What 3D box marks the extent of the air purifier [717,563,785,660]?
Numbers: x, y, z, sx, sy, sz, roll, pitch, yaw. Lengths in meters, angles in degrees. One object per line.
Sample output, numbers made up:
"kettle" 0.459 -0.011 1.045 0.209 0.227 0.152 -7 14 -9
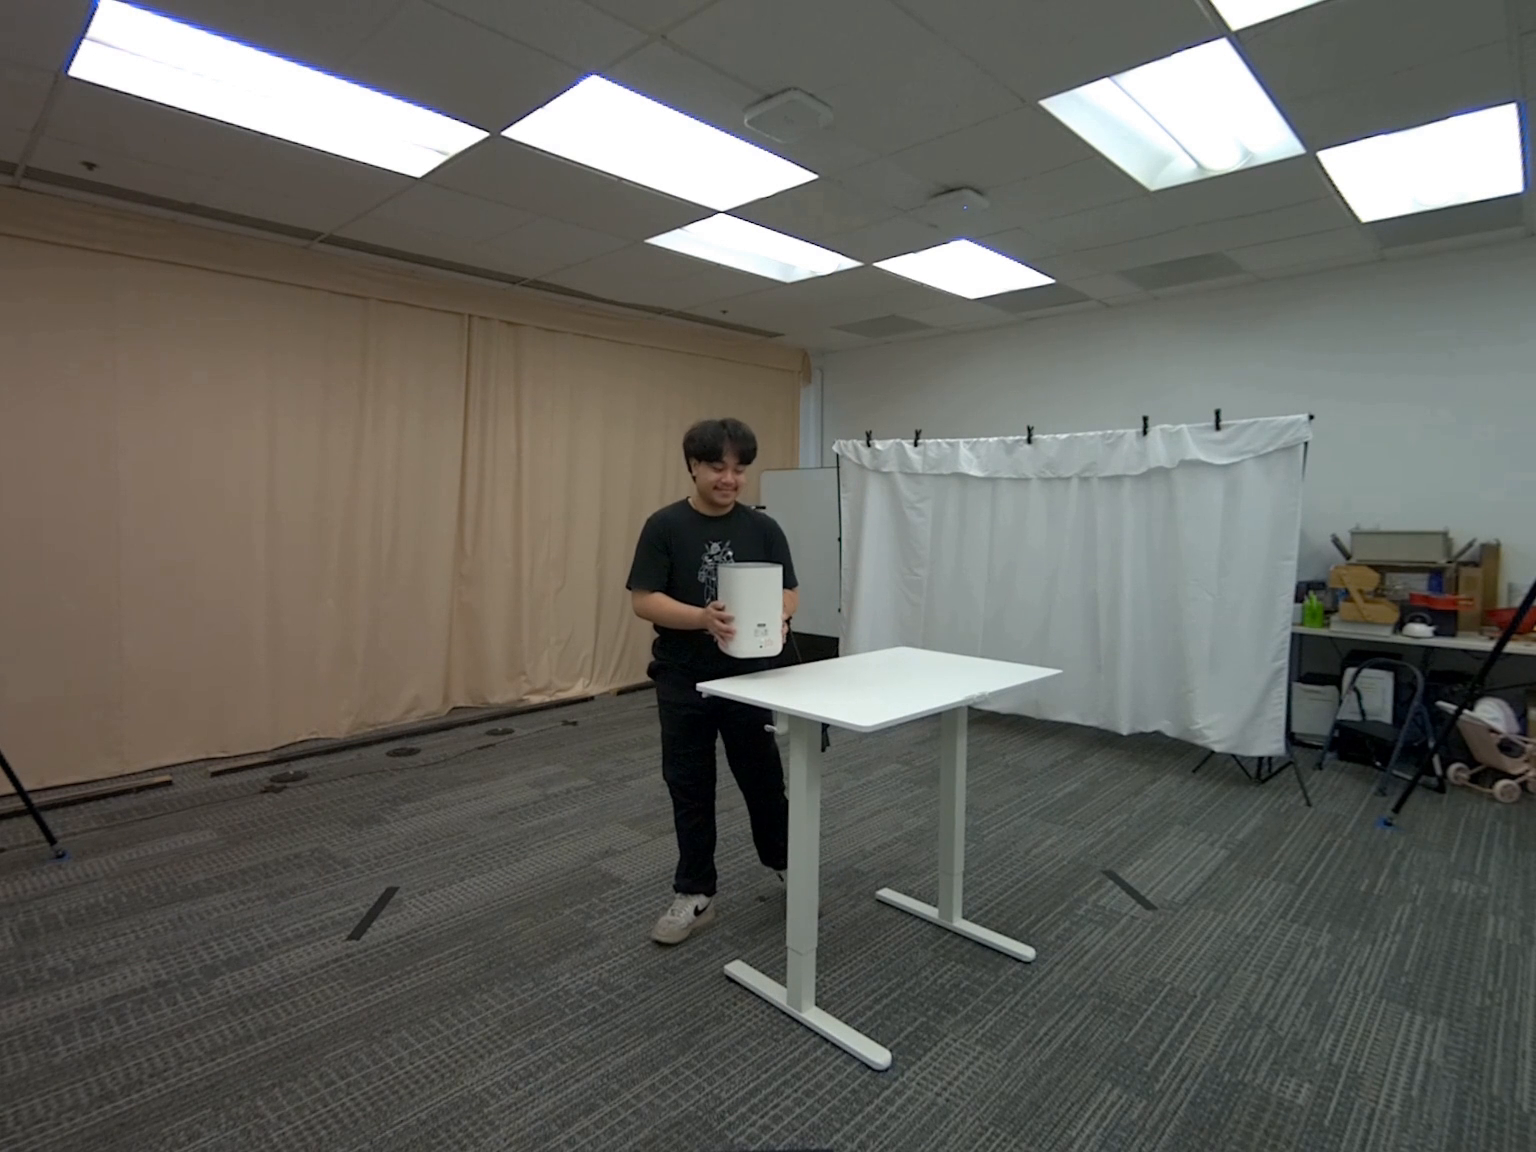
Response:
"air purifier" -0.052 0.098 2.487 0.168 0.265 0.175 0 3 -20
